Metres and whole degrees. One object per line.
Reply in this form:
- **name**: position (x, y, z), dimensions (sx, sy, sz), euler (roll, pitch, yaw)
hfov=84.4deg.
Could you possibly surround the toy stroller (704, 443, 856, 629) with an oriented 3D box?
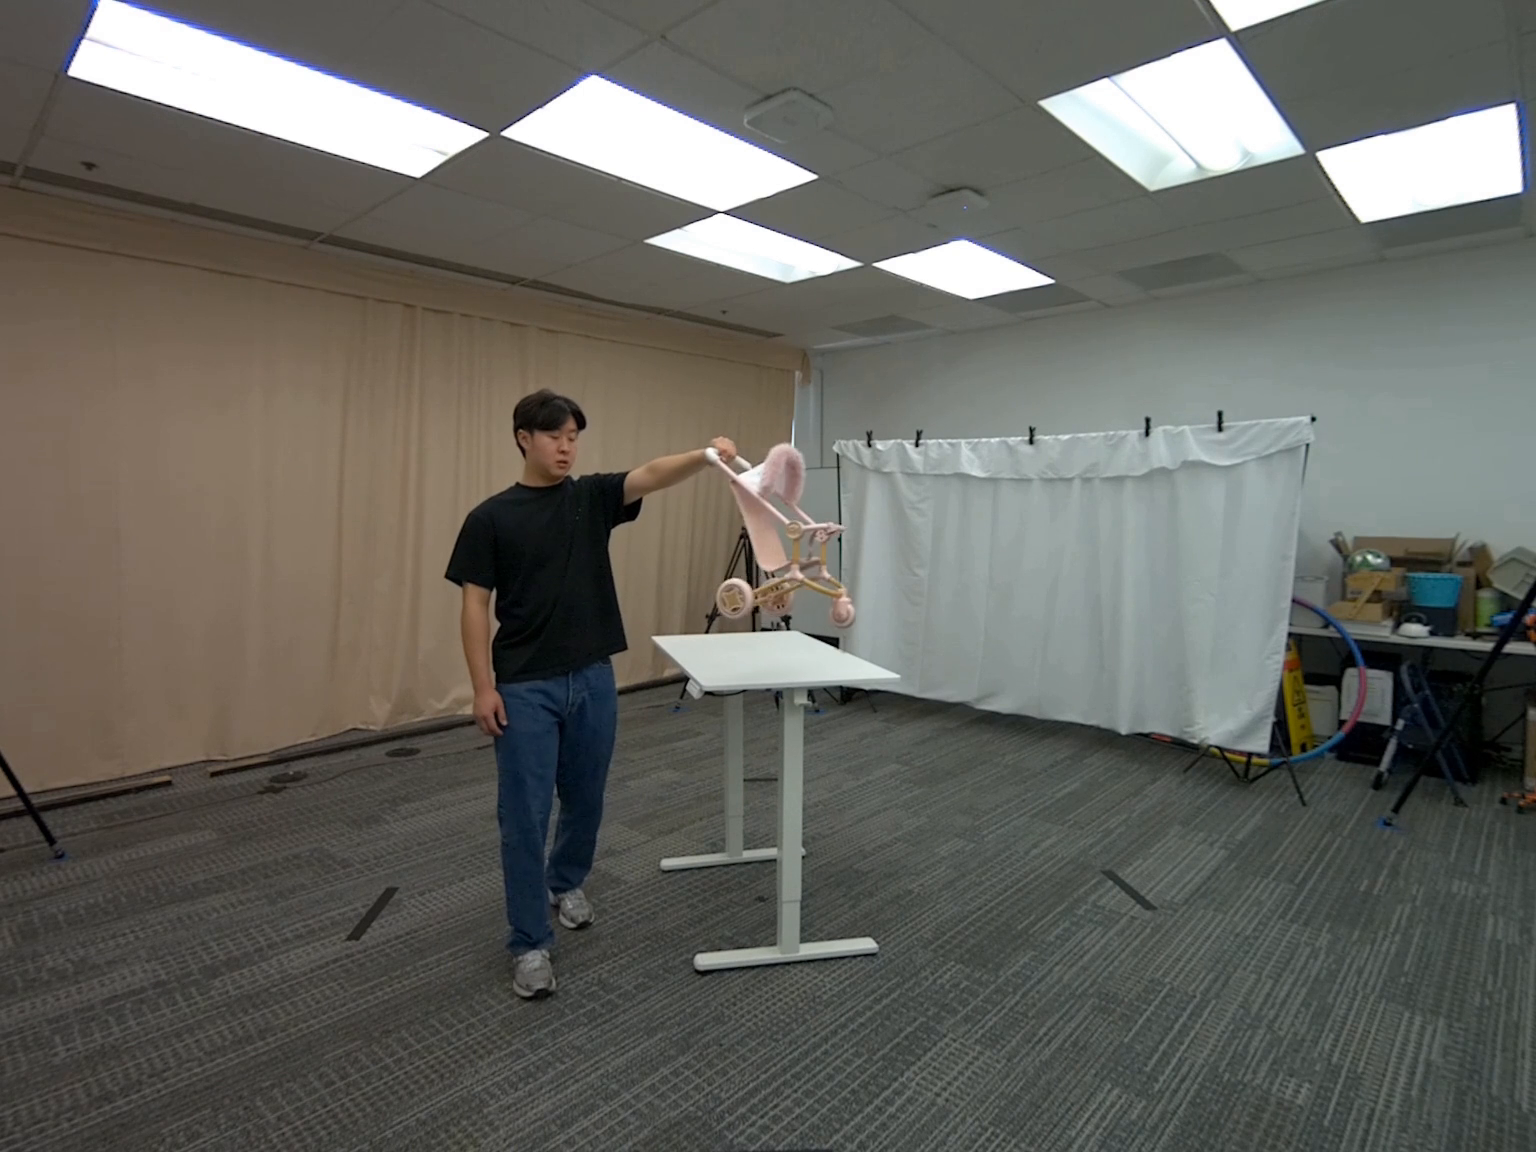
- **toy stroller**: position (0.042, -0.108, 2.246), dimensions (0.350, 0.537, 0.273), euler (-11, -6, 33)
